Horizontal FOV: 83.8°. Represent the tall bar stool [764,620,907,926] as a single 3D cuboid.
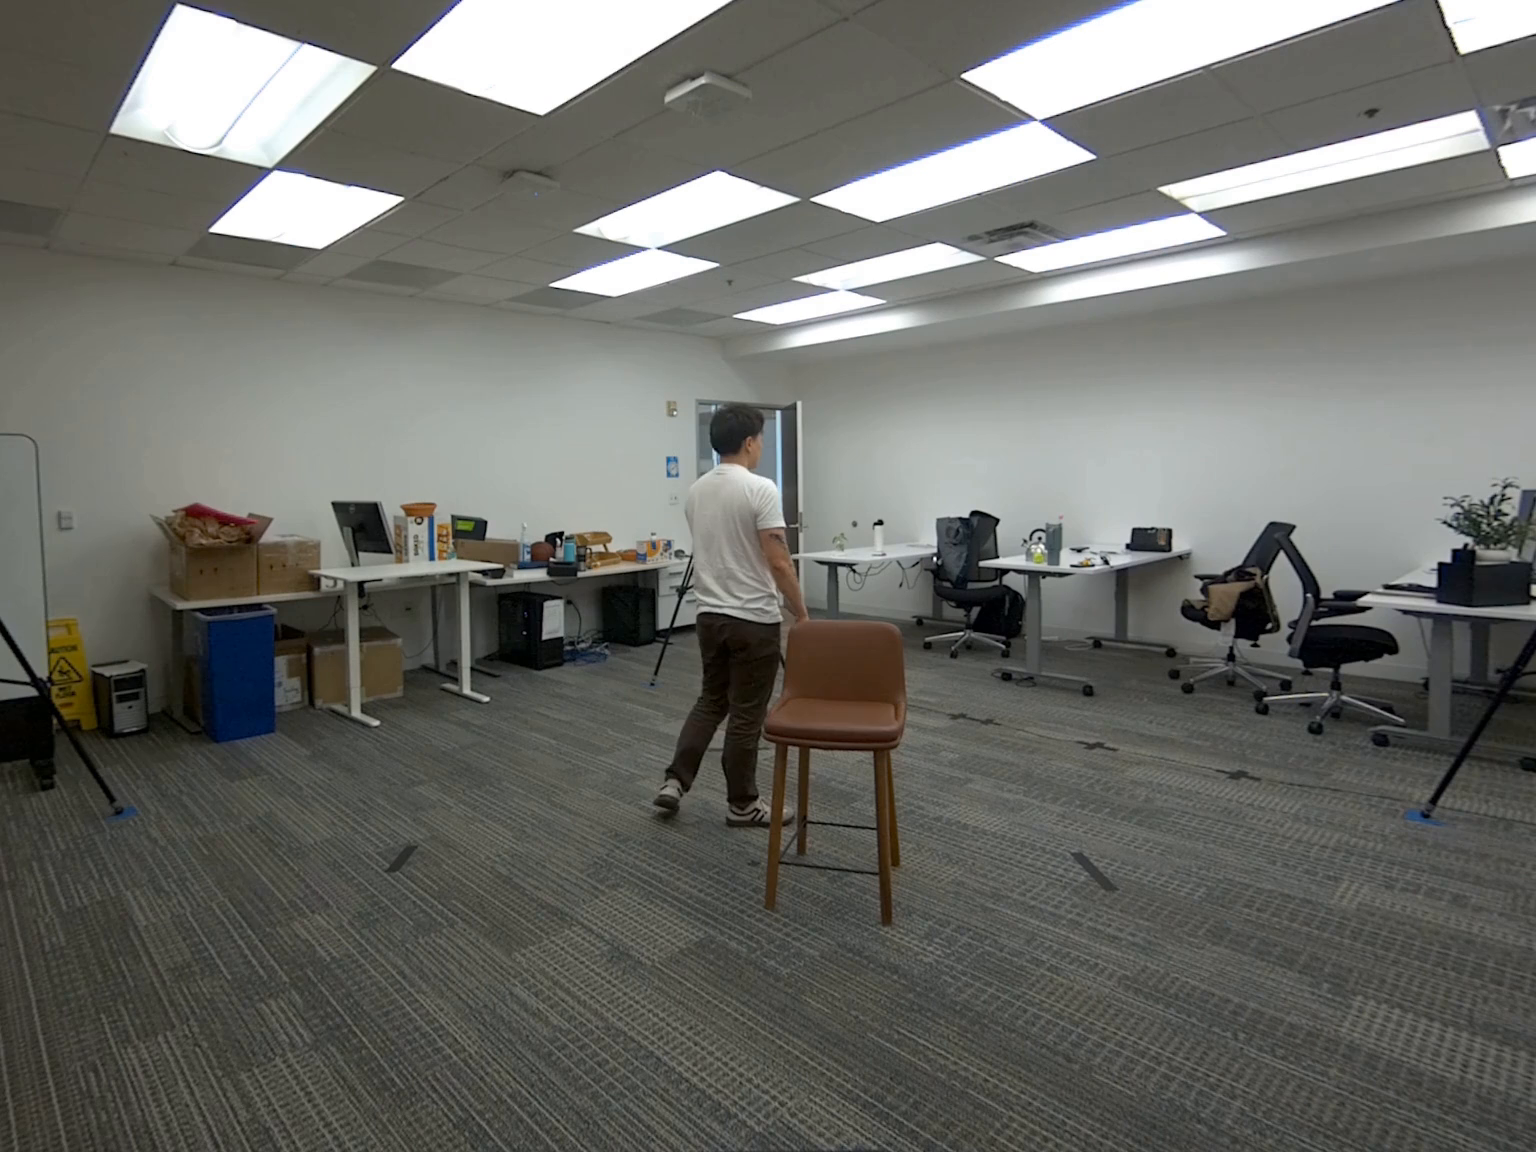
[{"bbox_3d":[0.240,0.626,2.907,0.465,0.888,0.460,1,3,18],"label":"tall bar stool"}]
